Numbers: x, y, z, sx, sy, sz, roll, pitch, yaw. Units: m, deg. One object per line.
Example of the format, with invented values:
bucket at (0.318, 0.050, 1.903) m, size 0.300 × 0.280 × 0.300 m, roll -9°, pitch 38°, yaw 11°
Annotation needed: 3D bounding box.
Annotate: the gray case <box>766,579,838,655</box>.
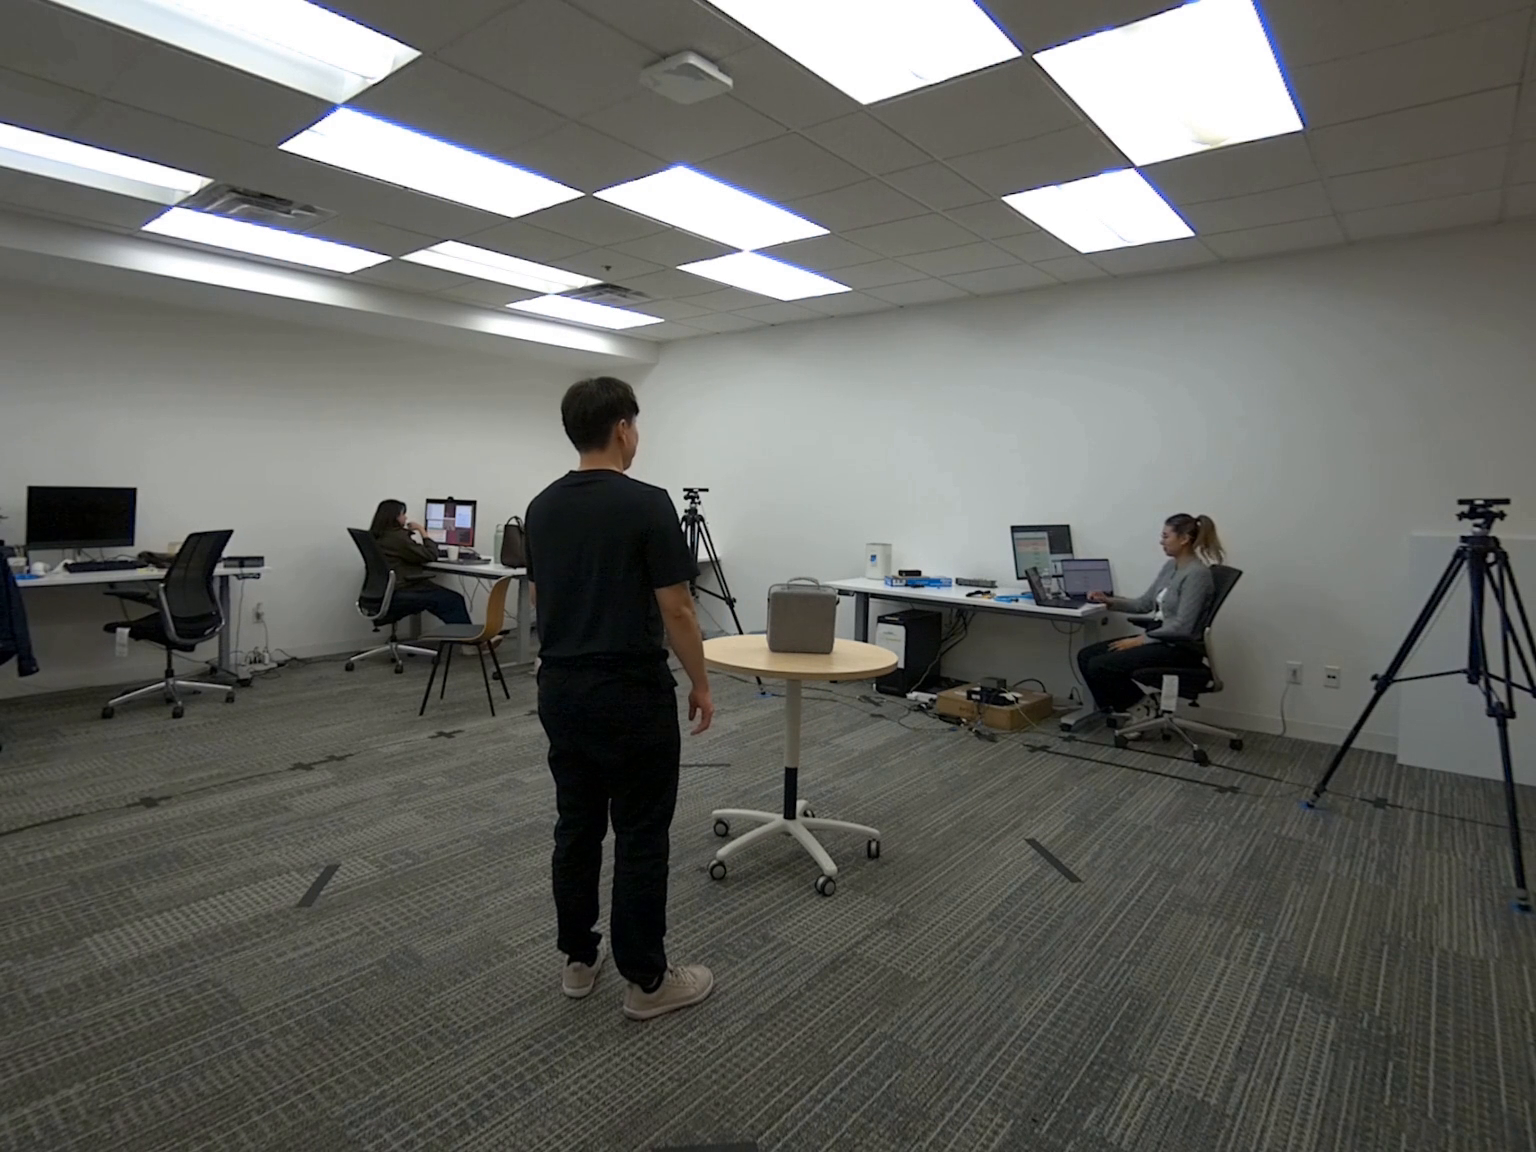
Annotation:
gray case at (0.120, 0.152, 3.199) m, size 0.257 × 0.257 × 0.105 m, roll 0°, pitch 14°, yaw 1°
